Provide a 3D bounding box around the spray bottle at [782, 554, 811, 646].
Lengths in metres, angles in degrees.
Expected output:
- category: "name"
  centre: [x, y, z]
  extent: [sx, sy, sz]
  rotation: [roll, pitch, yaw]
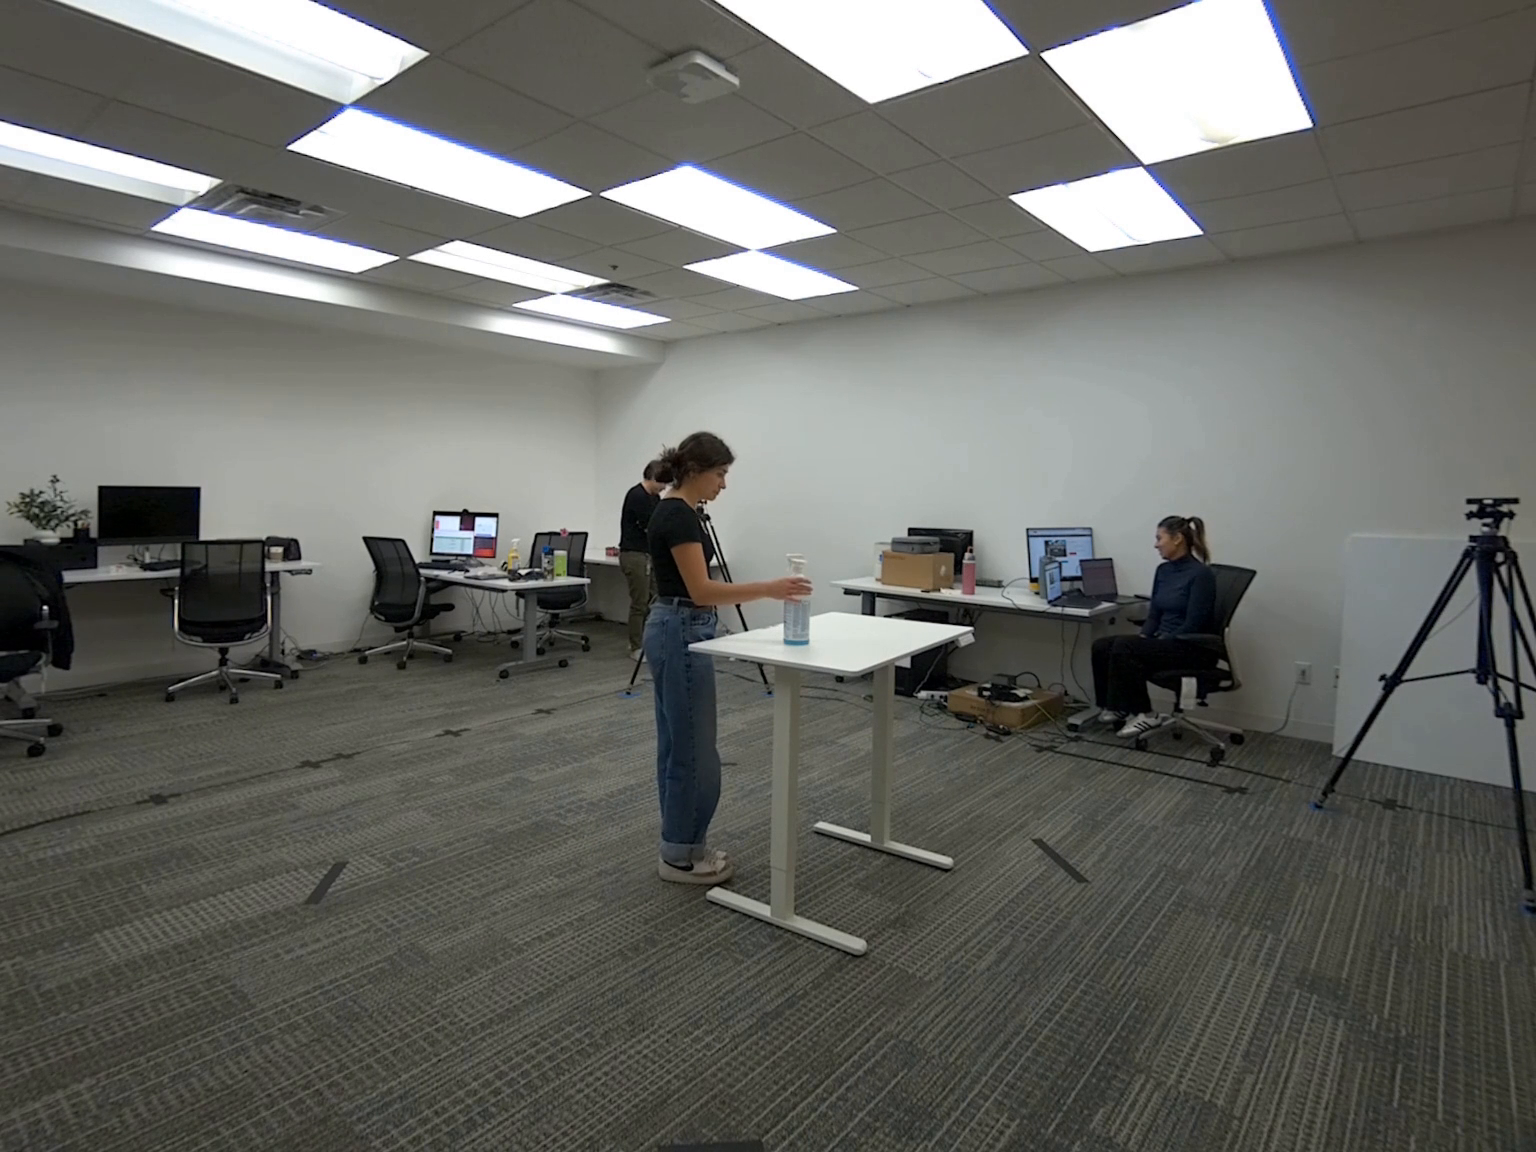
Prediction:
- category: "spray bottle"
  centre: [0.090, 0.075, 2.814]
  extent: [0.089, 0.296, 0.088]
  rotation: [-1, 3, -14]
